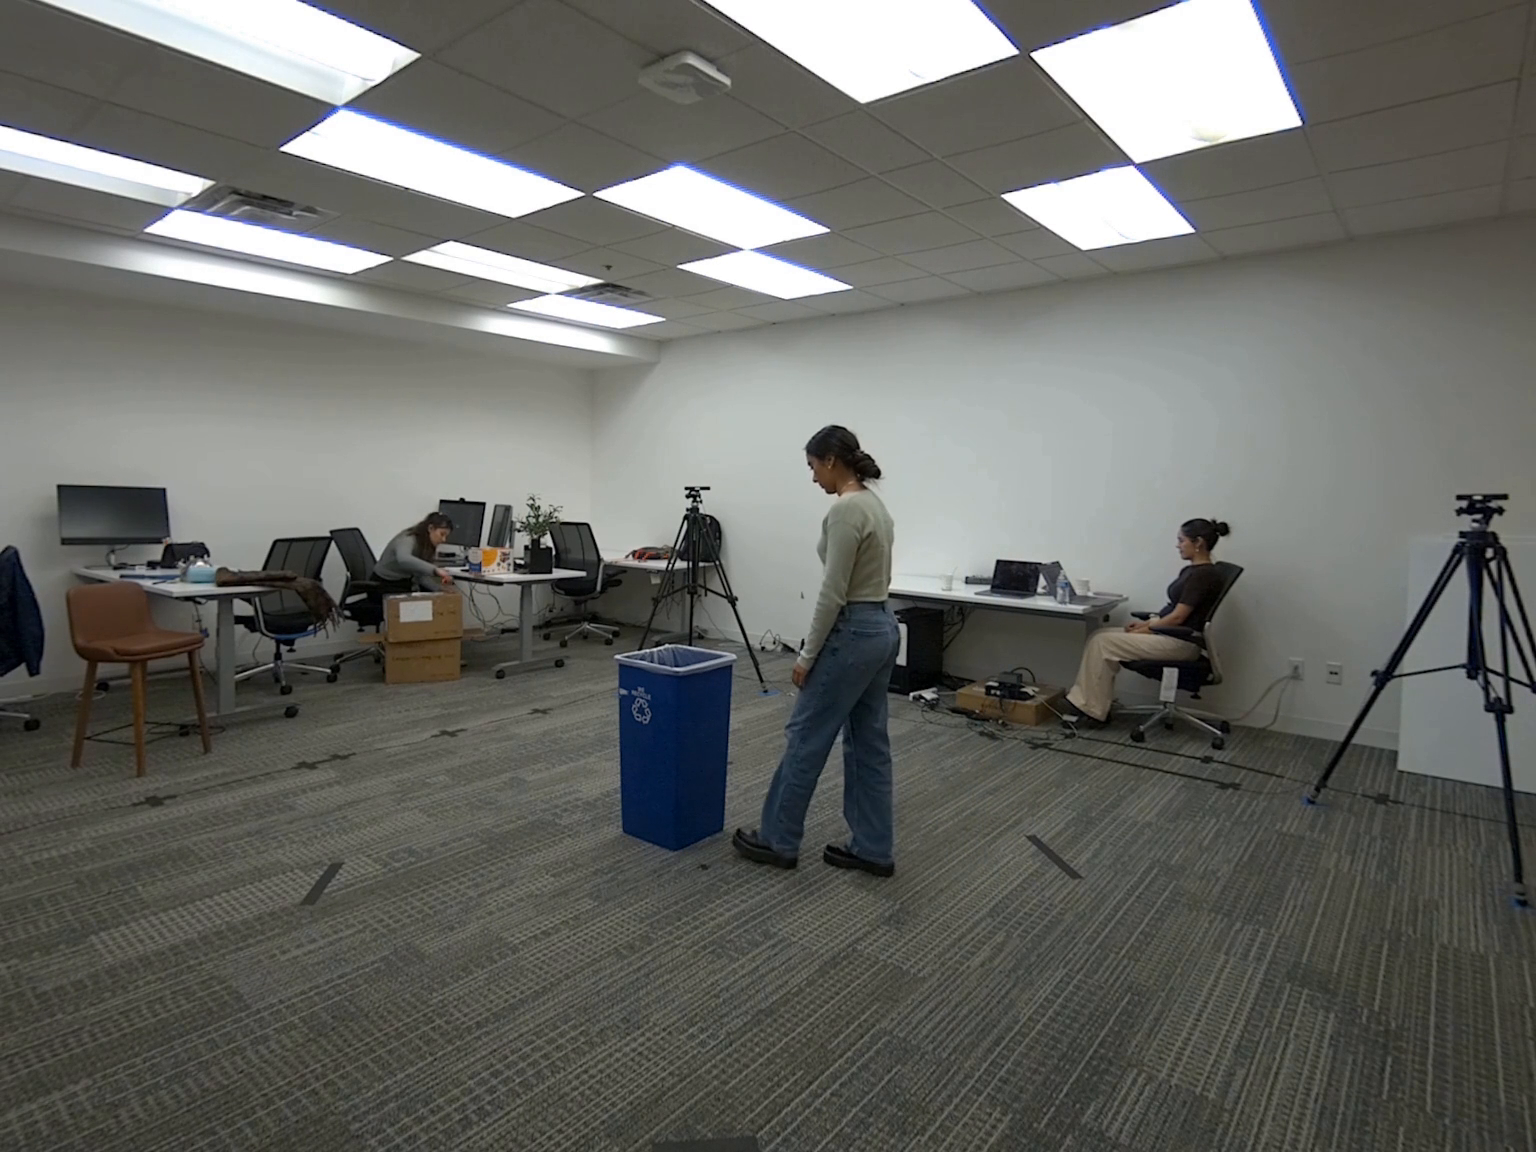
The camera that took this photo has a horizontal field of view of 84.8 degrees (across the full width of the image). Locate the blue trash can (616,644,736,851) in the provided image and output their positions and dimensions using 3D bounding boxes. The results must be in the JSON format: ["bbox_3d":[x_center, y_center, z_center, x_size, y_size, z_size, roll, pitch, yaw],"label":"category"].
[{"bbox_3d":[-0.381,0.673,3.429,0.386,0.711,0.367,3,4,38],"label":"blue trash can"}]
